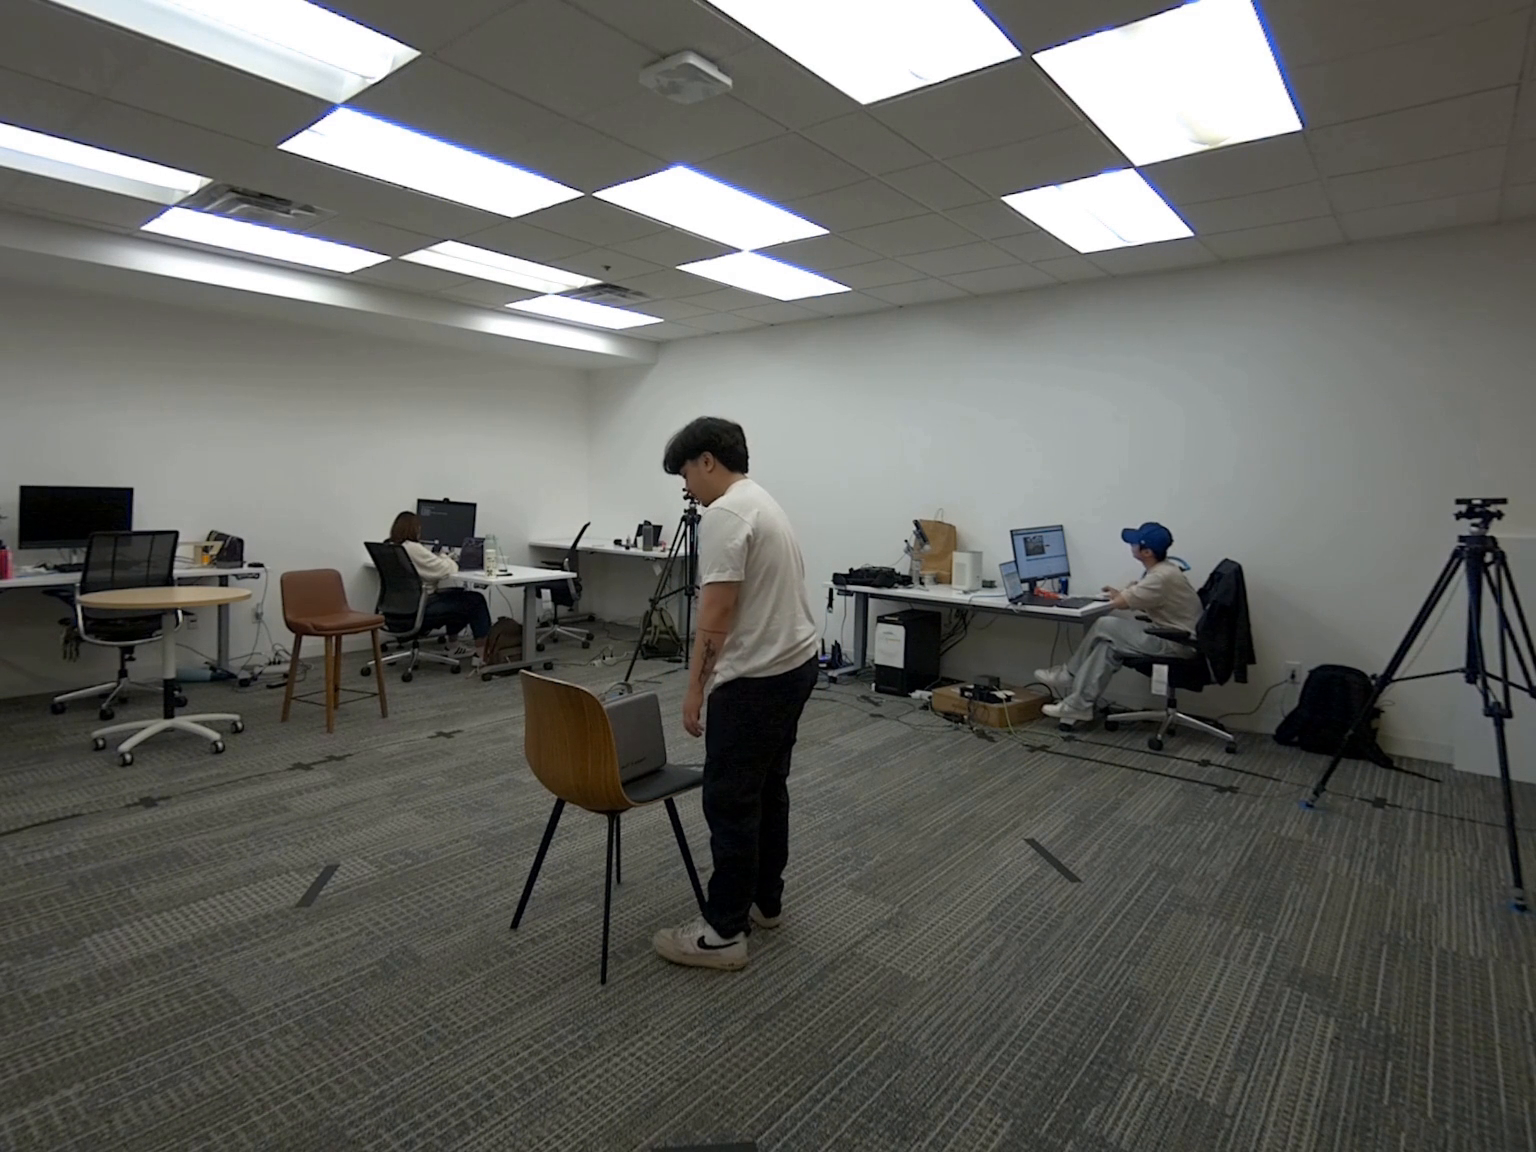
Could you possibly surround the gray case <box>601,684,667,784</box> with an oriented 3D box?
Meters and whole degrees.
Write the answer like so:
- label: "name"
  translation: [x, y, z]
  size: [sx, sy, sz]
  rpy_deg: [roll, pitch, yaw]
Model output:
- label: "gray case"
  translation: [-0.460, 0.502, 2.688]
  size: [0.107, 0.261, 0.250]
  rpy_deg: [-10, -1, 42]
